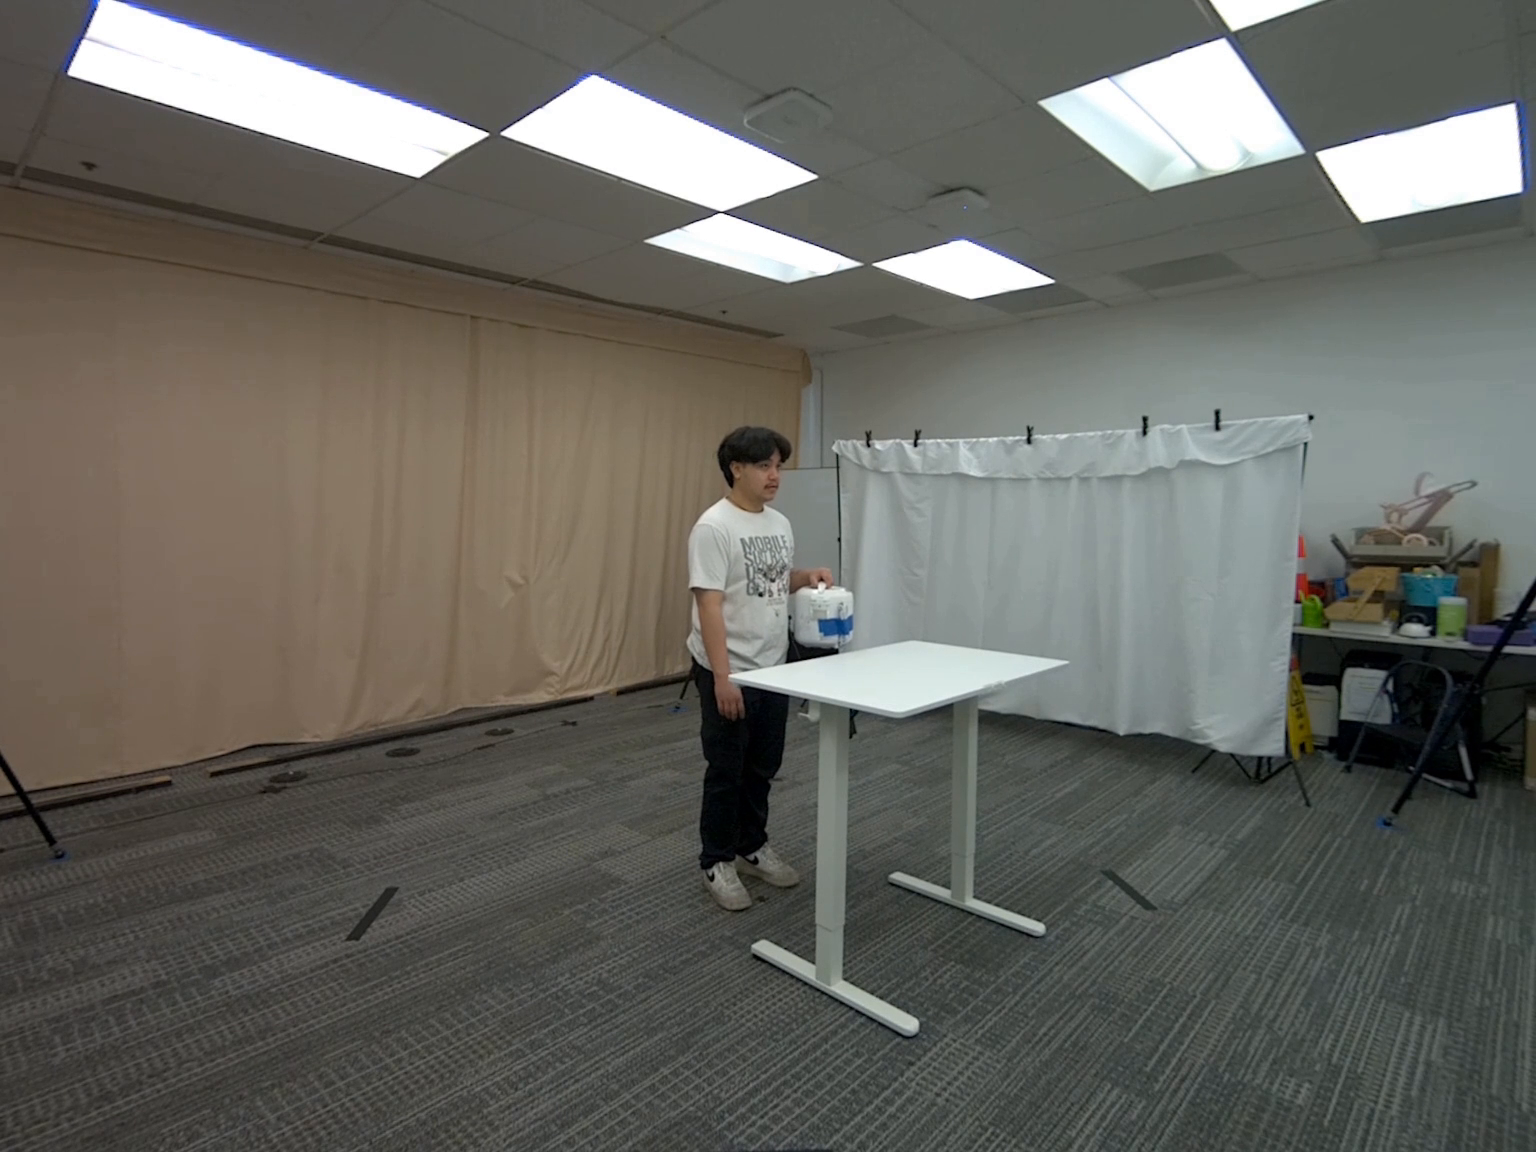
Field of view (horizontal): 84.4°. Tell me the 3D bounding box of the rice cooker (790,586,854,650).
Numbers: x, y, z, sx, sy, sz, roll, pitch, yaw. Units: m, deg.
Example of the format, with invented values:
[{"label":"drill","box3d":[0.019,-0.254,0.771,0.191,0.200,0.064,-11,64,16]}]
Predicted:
[{"label":"rice cooker","box3d":[0.203,0.135,3.045,0.221,0.232,0.217,2,4,14]}]
